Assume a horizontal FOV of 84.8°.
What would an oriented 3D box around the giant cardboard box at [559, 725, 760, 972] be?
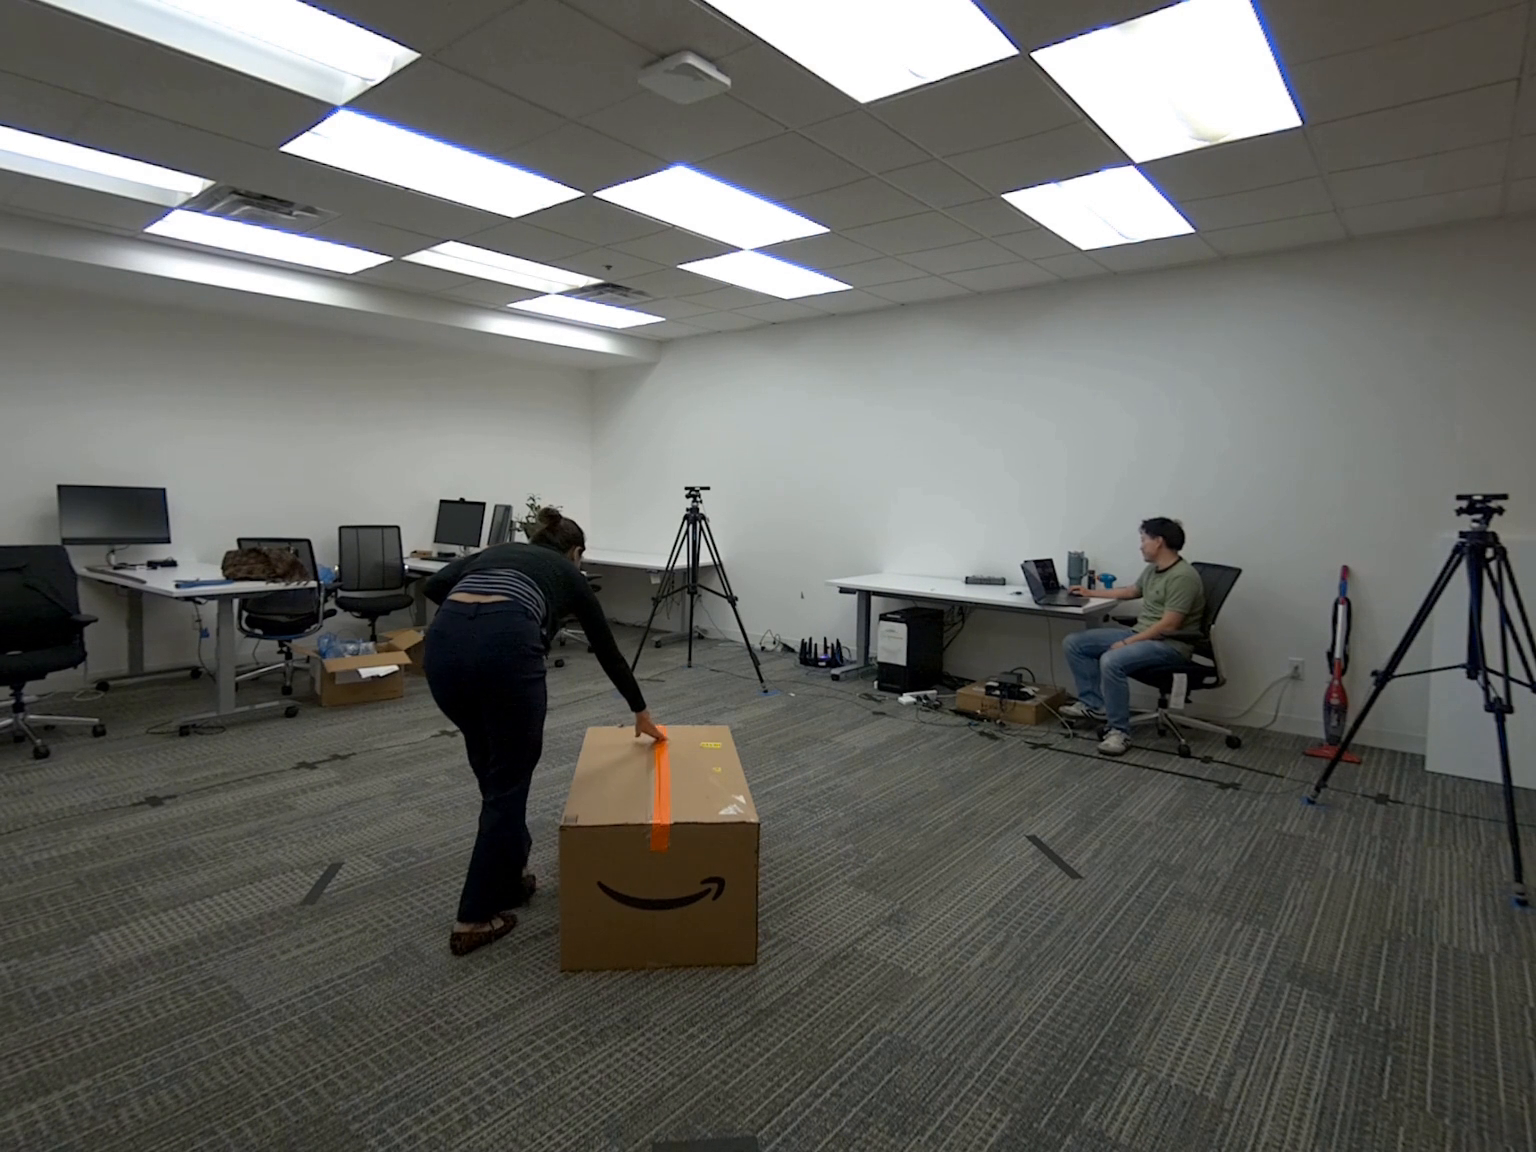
[{"bbox_3d":[-0.388,0.864,2.944,0.574,0.424,1.037,1,5,-7],"label":"giant cardboard box"}]
